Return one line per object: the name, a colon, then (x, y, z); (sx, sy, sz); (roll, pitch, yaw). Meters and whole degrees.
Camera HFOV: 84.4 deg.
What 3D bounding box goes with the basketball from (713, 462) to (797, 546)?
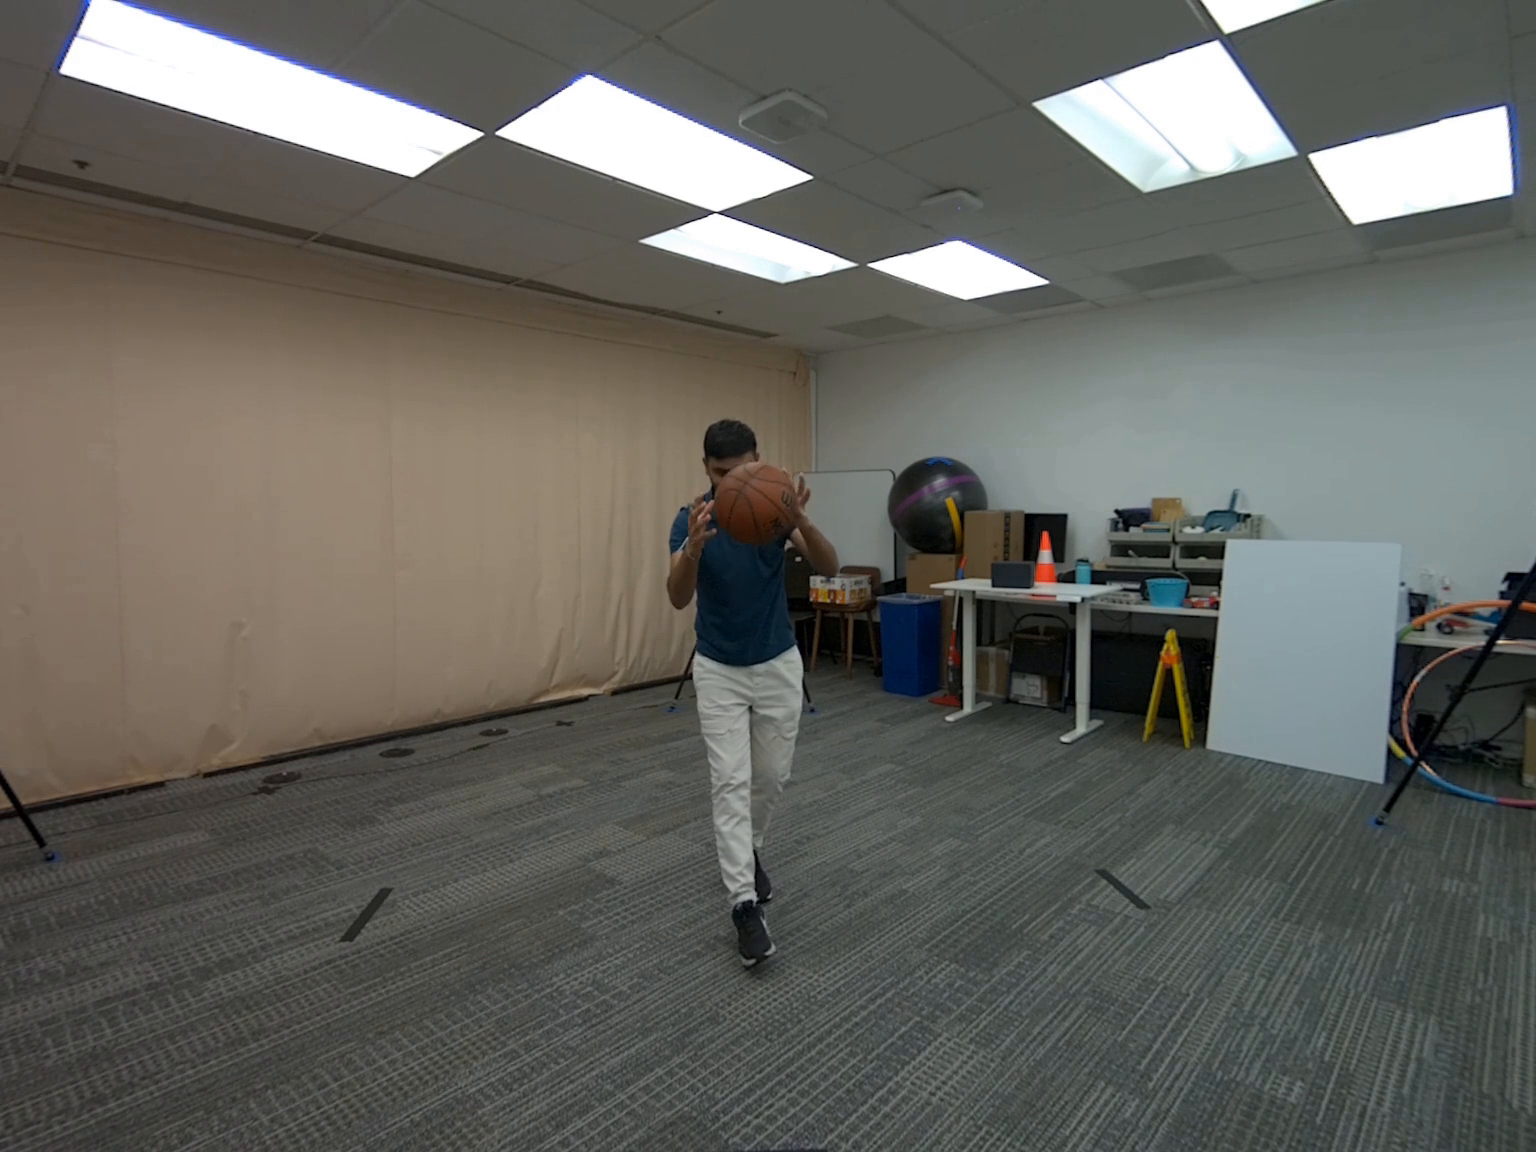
basketball: (-0.034, -0.181, 2.418); (0.236, 0.235, 0.237); (0, 4, -2)
